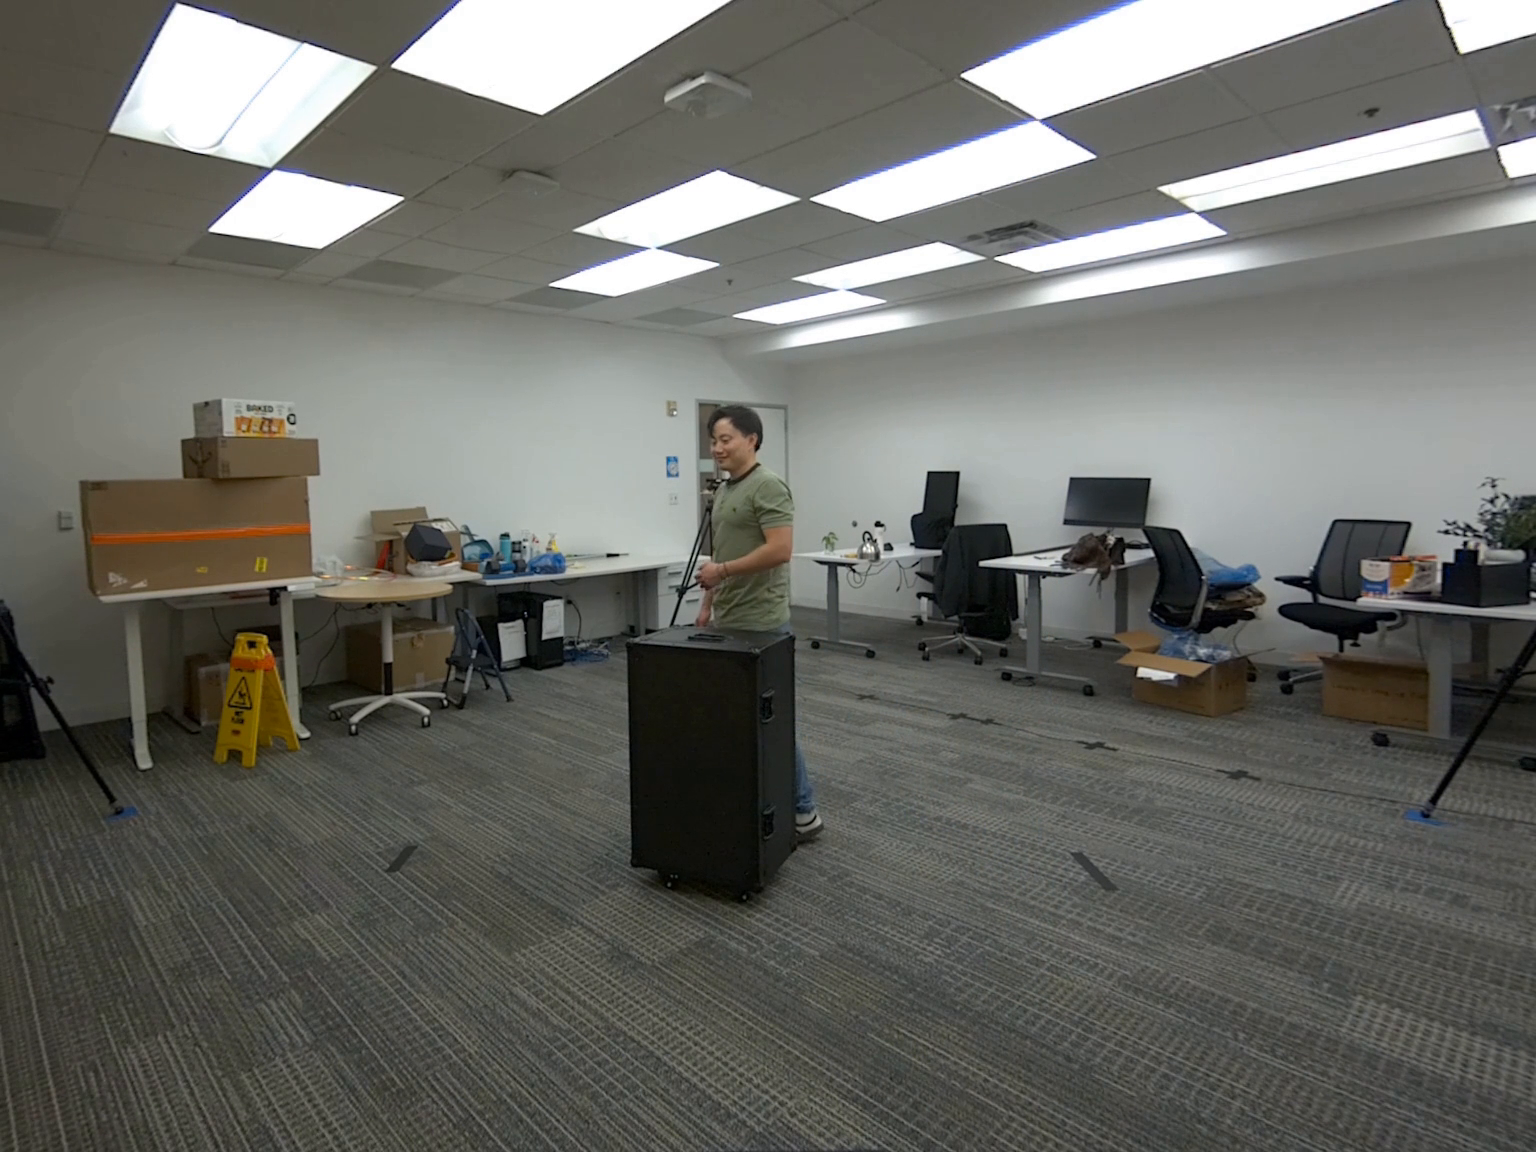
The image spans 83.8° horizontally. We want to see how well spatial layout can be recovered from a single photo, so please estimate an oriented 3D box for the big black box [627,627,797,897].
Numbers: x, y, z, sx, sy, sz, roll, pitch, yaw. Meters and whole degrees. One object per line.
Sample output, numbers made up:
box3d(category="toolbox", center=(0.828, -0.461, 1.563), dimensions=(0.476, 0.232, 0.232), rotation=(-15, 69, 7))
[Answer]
box3d(category="big black box", center=(-0.190, 0.632, 2.987), dimensions=(0.533, 0.859, 0.388), rotation=(1, 3, 24))
